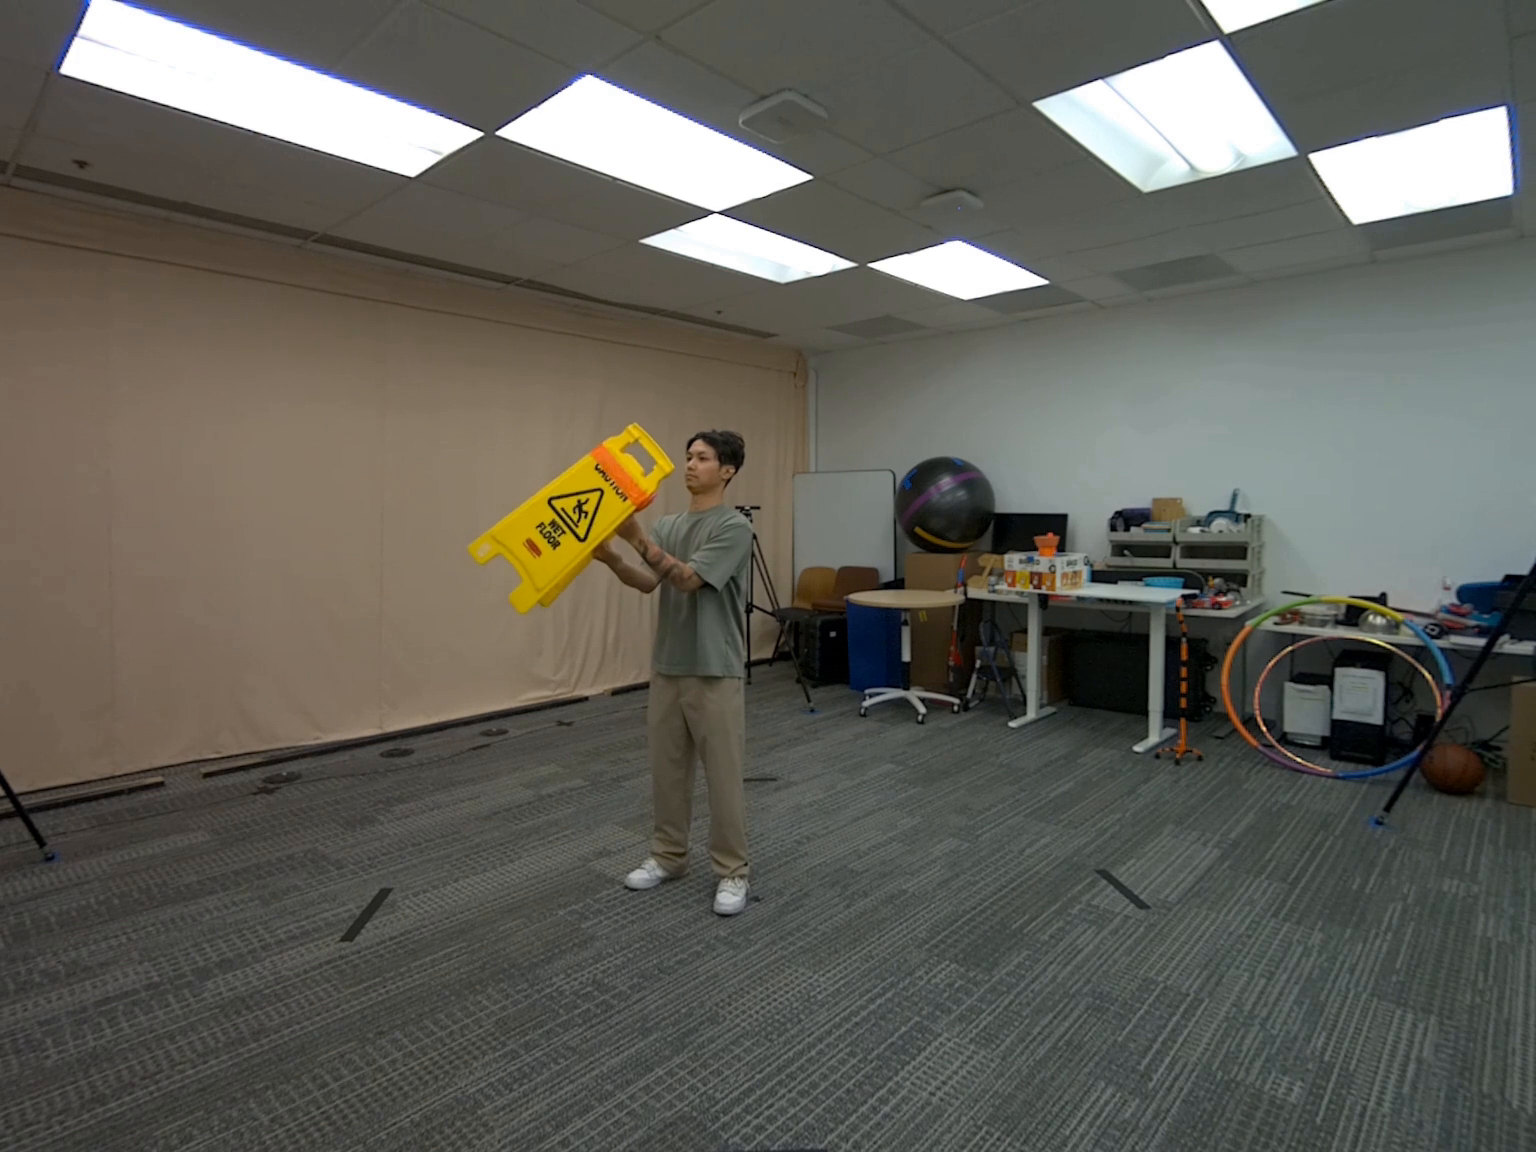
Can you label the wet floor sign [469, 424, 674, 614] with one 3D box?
[{"bbox_3d":[-0.594,-0.202,2.678,0.647,0.284,0.287,-40,-5,4],"label":"wet floor sign"}]
